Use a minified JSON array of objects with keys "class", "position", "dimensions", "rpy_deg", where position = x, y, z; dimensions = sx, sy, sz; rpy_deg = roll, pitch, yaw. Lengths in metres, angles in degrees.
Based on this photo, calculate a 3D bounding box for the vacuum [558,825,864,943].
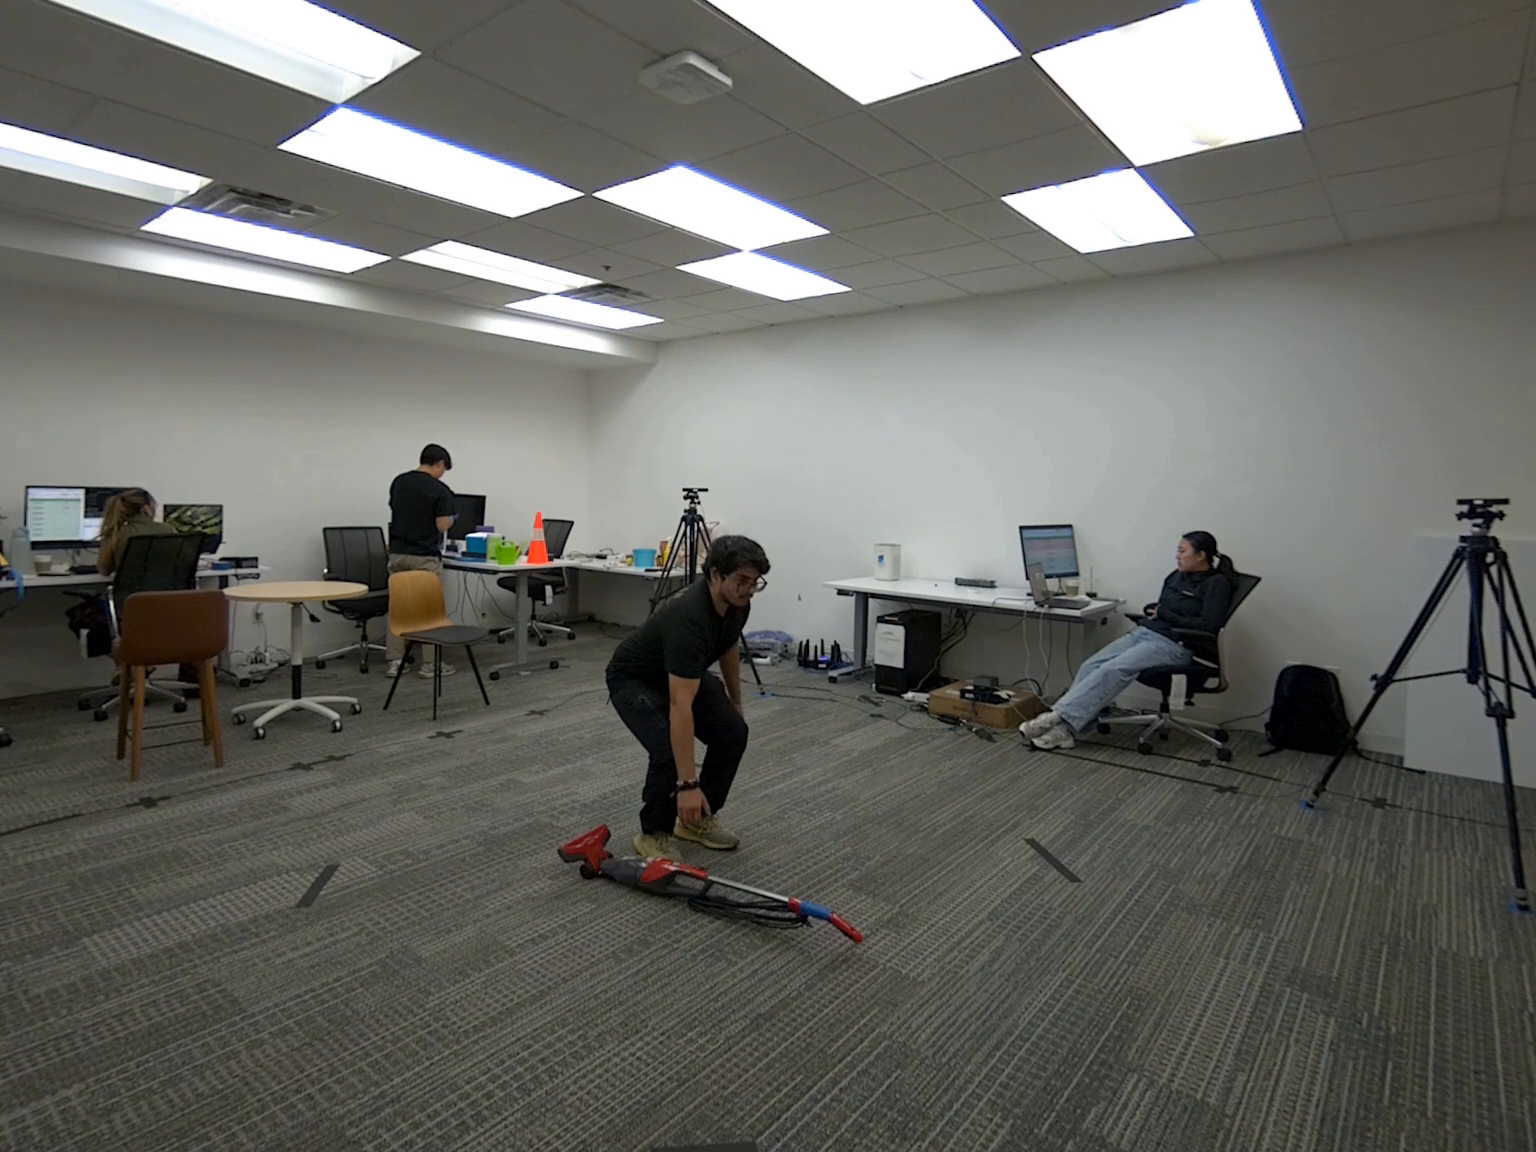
[{"class":"vacuum","position":[-0.198,1.038,2.802],"dimensions":[1.082,0.143,0.246],"rpy_deg":[5,9,31]}]
